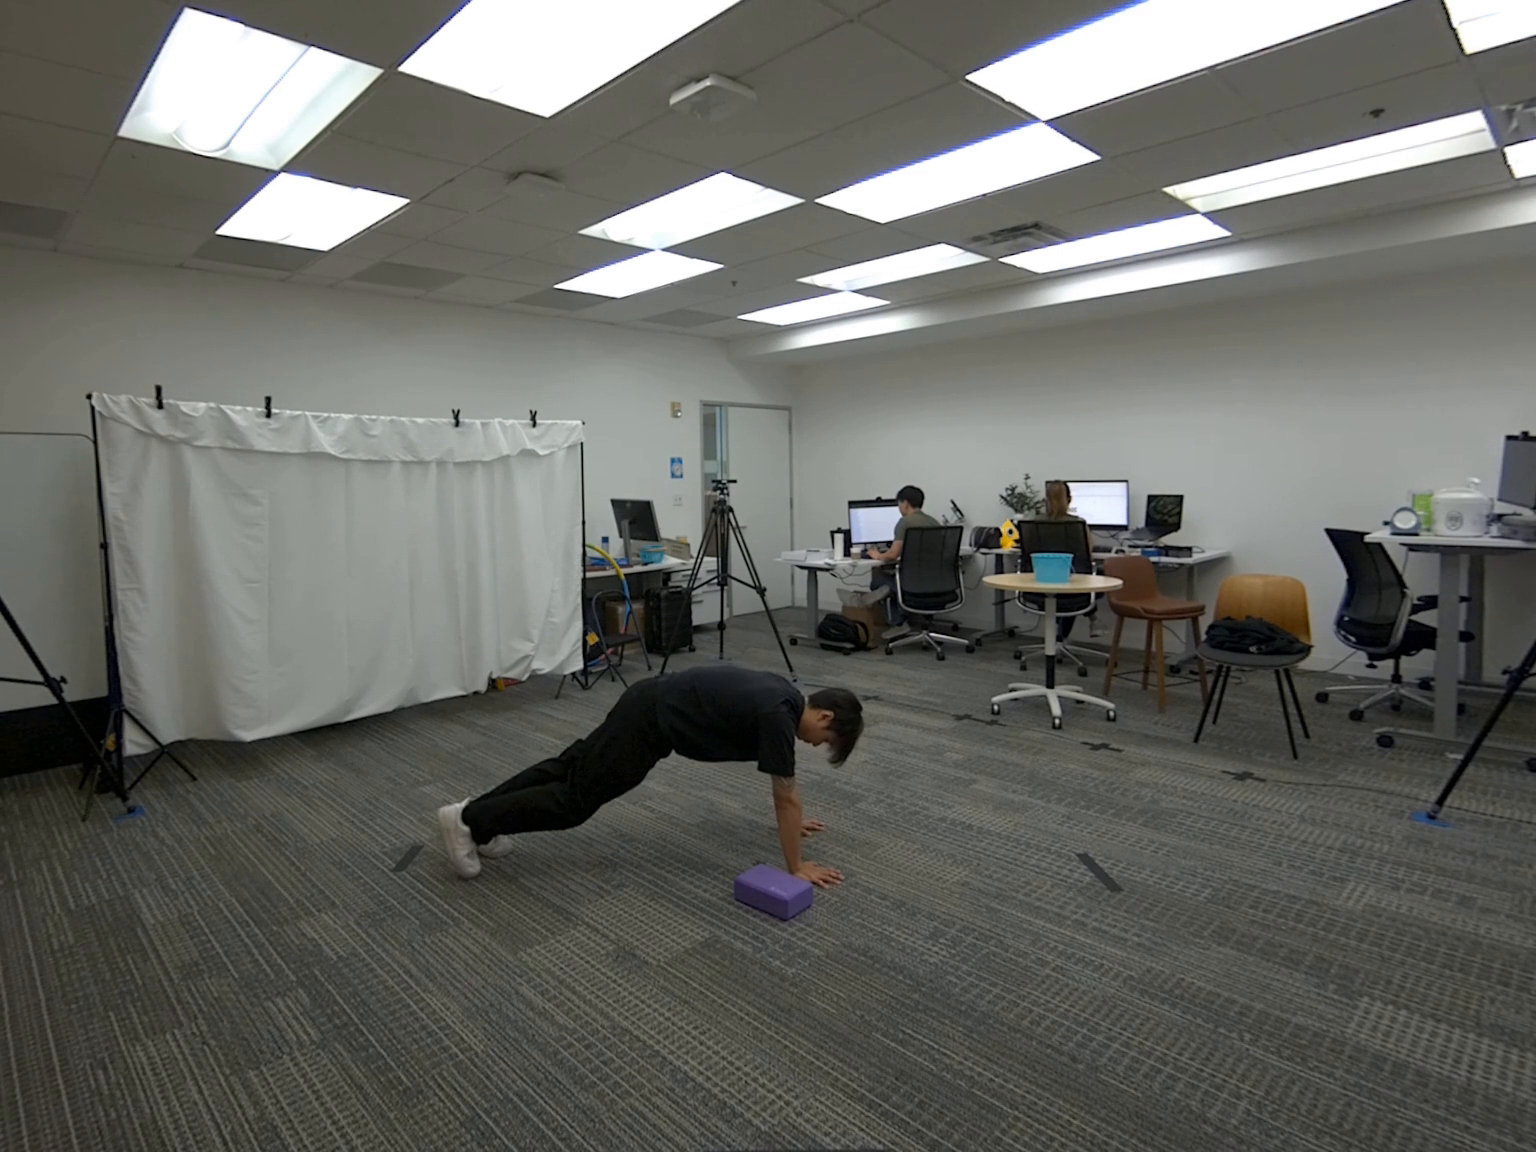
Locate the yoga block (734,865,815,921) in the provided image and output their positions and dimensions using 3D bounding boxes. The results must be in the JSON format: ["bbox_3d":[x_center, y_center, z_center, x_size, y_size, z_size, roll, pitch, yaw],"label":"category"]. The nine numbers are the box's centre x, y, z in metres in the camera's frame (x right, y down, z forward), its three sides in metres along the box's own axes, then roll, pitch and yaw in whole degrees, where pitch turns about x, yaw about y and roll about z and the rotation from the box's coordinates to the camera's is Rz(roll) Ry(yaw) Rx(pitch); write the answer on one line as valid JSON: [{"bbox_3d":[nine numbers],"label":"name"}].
[{"bbox_3d":[0.022,1.041,2.820,0.236,0.076,0.145,4,8,40],"label":"yoga block"}]
